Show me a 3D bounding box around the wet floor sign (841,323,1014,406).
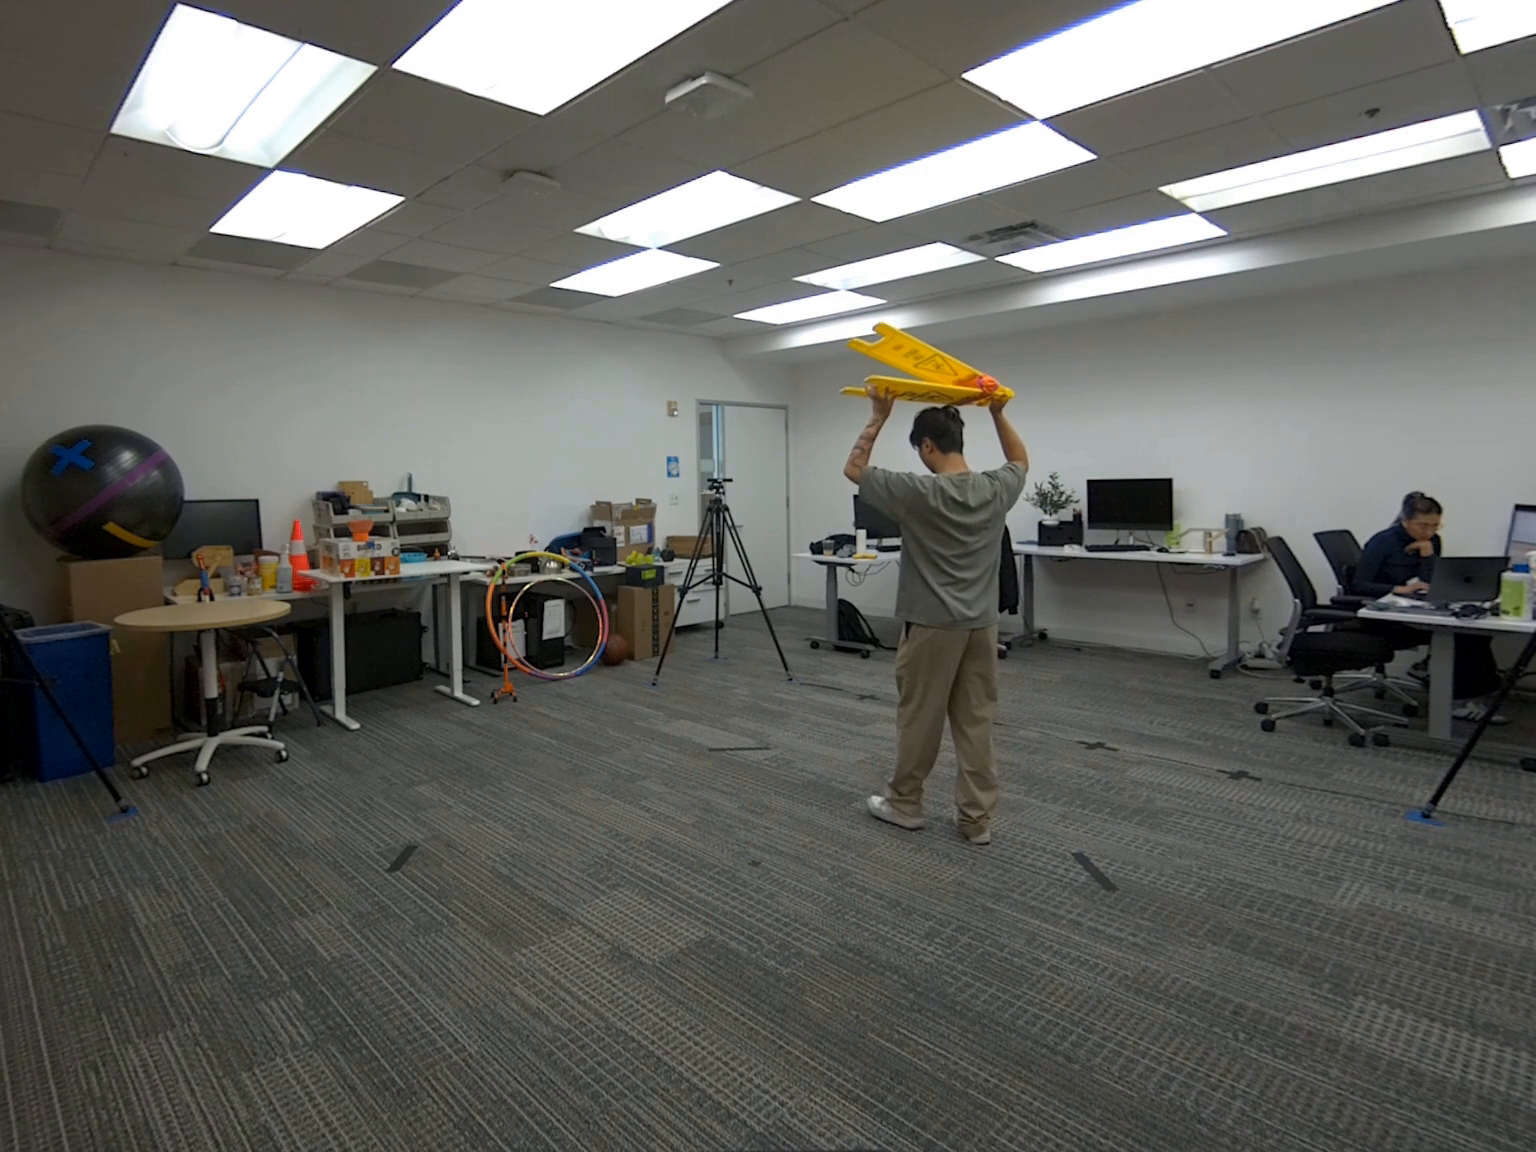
[{"bbox_3d":[0.645,-0.770,3.361,0.632,0.291,0.287,9,-6,-21],"label":"wet floor sign"}]
